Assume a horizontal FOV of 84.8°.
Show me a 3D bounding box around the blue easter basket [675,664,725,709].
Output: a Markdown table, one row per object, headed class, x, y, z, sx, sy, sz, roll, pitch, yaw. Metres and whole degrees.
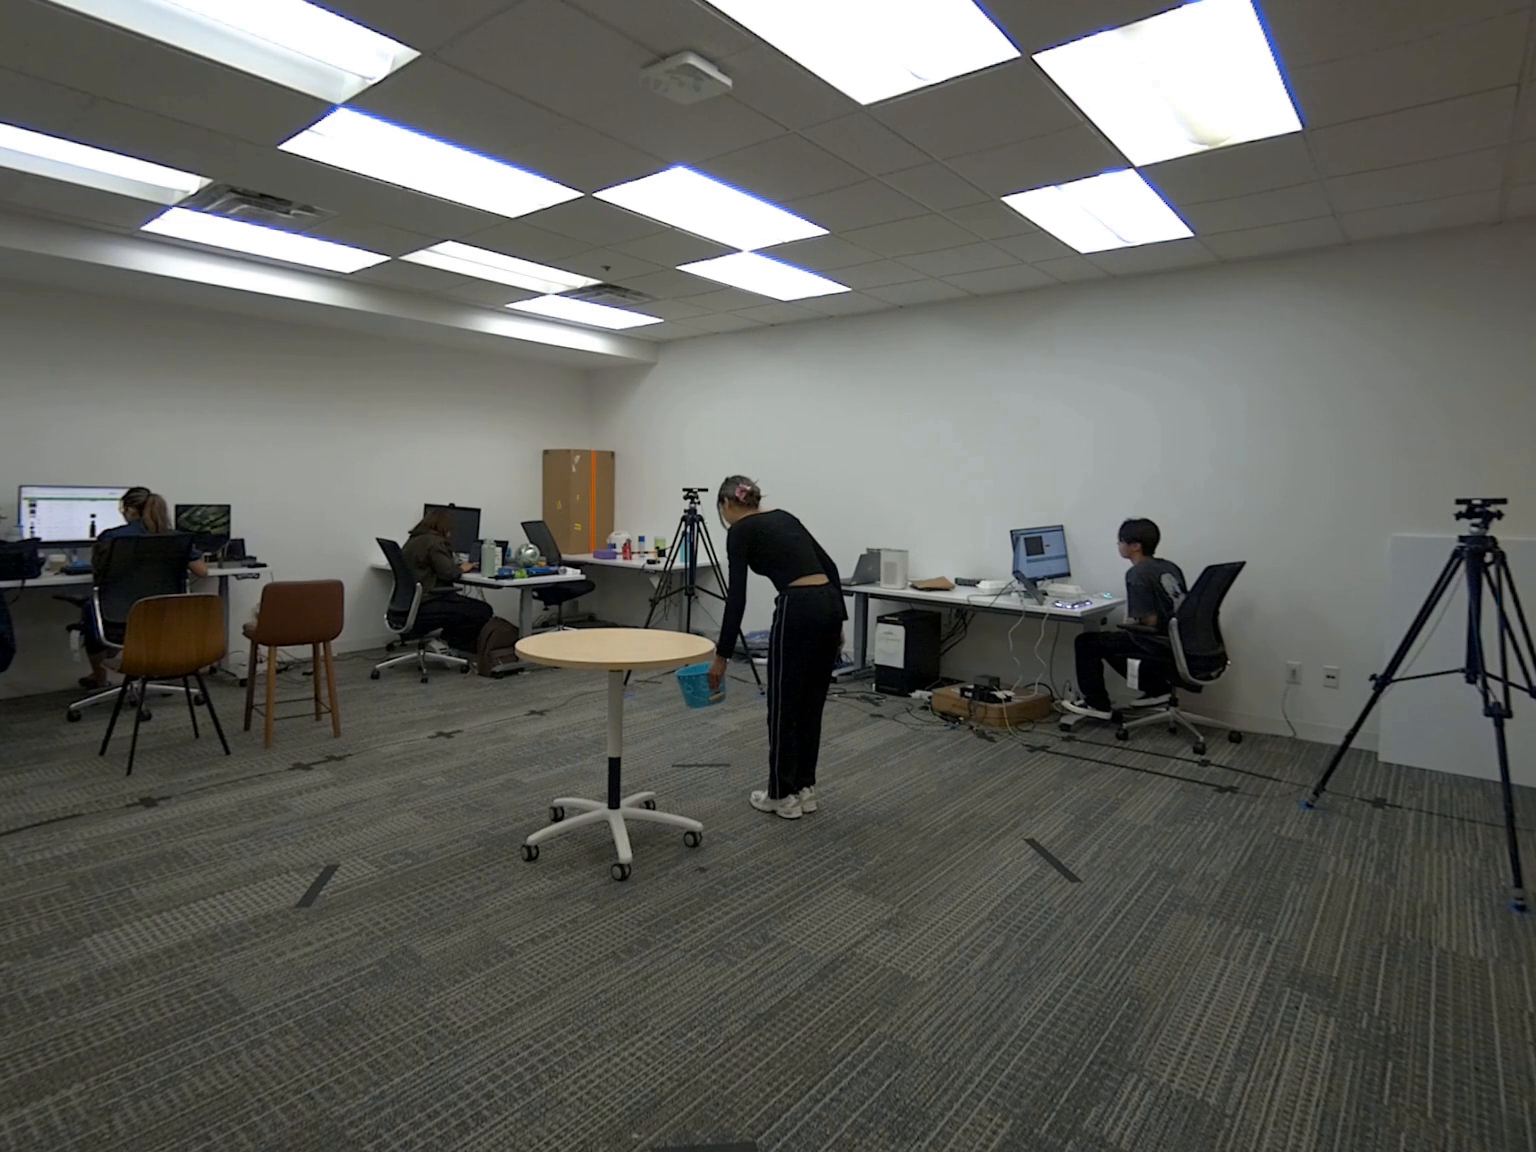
| class | x | y | z | sx | sy | sz | roll | pitch | yaw |
| --- | --- | --- | --- | --- | --- | --- | --- | --- | --- |
| blue easter basket | -0.295 | 0.490 | 3.758 | 0.243 | 0.155 | 0.244 | -10 | 4 | -1 |
